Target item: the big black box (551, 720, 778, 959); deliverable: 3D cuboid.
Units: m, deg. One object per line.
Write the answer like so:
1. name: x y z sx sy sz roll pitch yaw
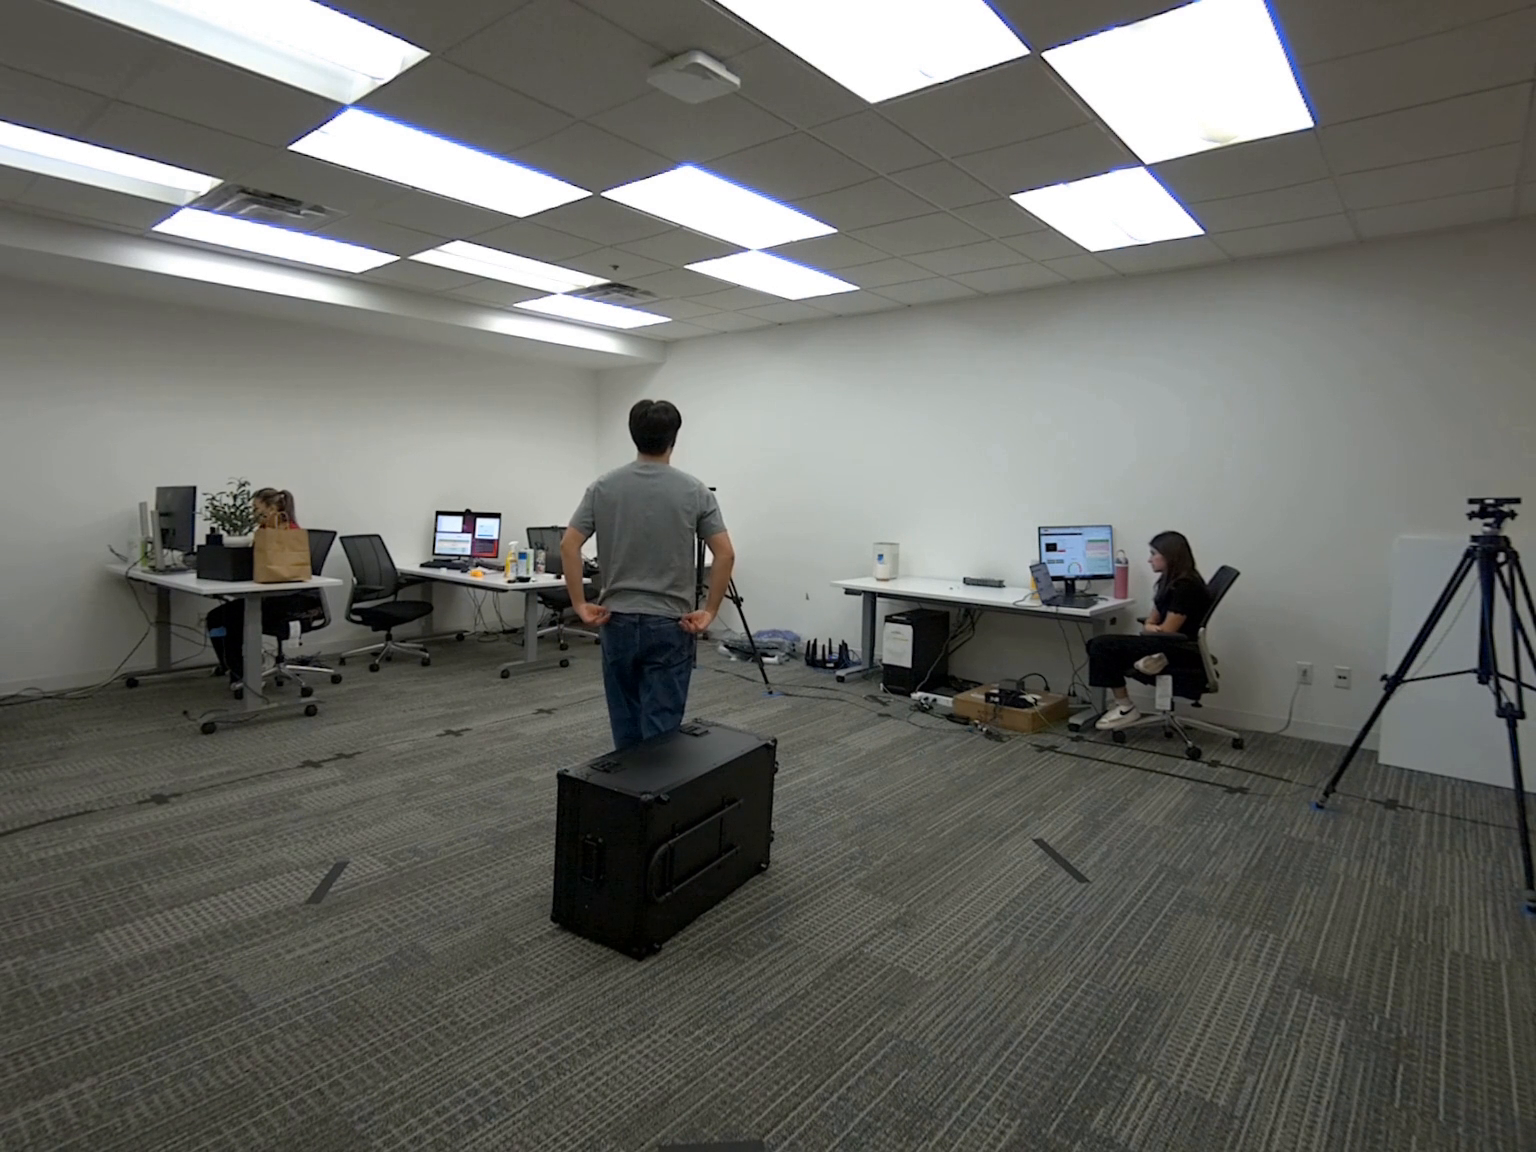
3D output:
1. big black box: -0.304 0.827 2.901 0.408 0.519 0.839 5 6 29
